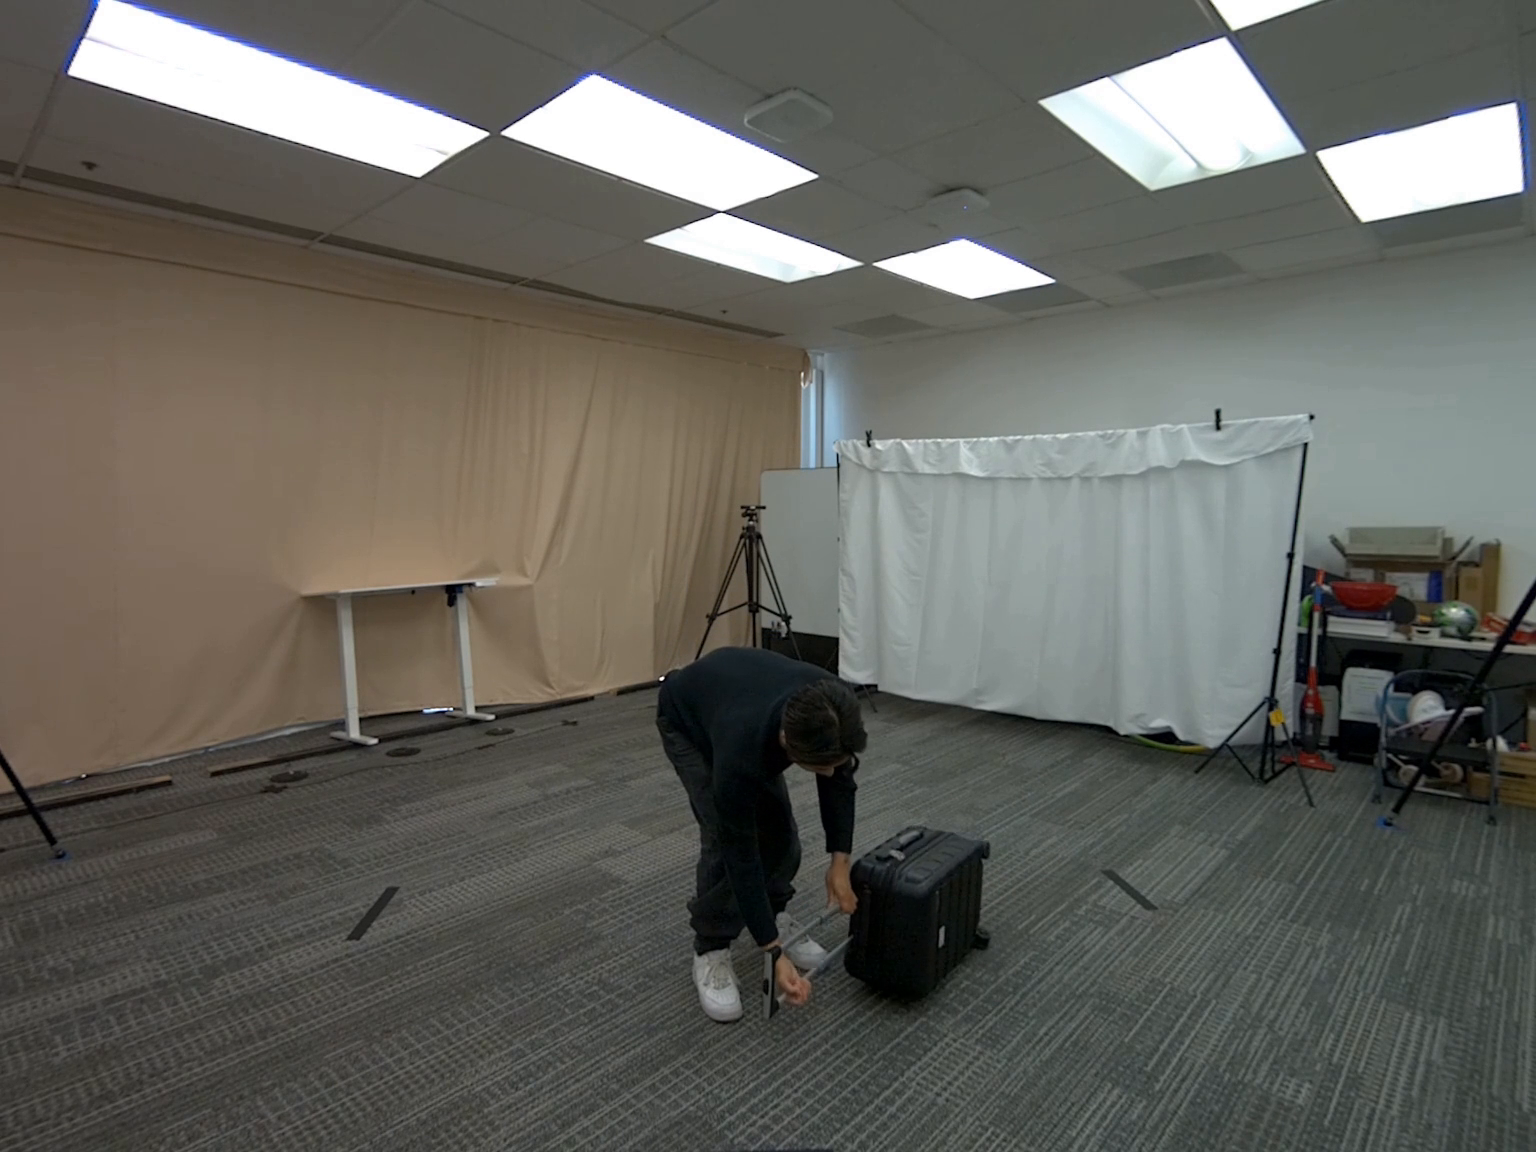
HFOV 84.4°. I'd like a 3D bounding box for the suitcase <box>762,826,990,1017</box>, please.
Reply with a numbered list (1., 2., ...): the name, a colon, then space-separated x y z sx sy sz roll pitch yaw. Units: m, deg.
1. suitcase: 0.359 0.983 2.346 0.265 0.384 0.949 3 1 33
